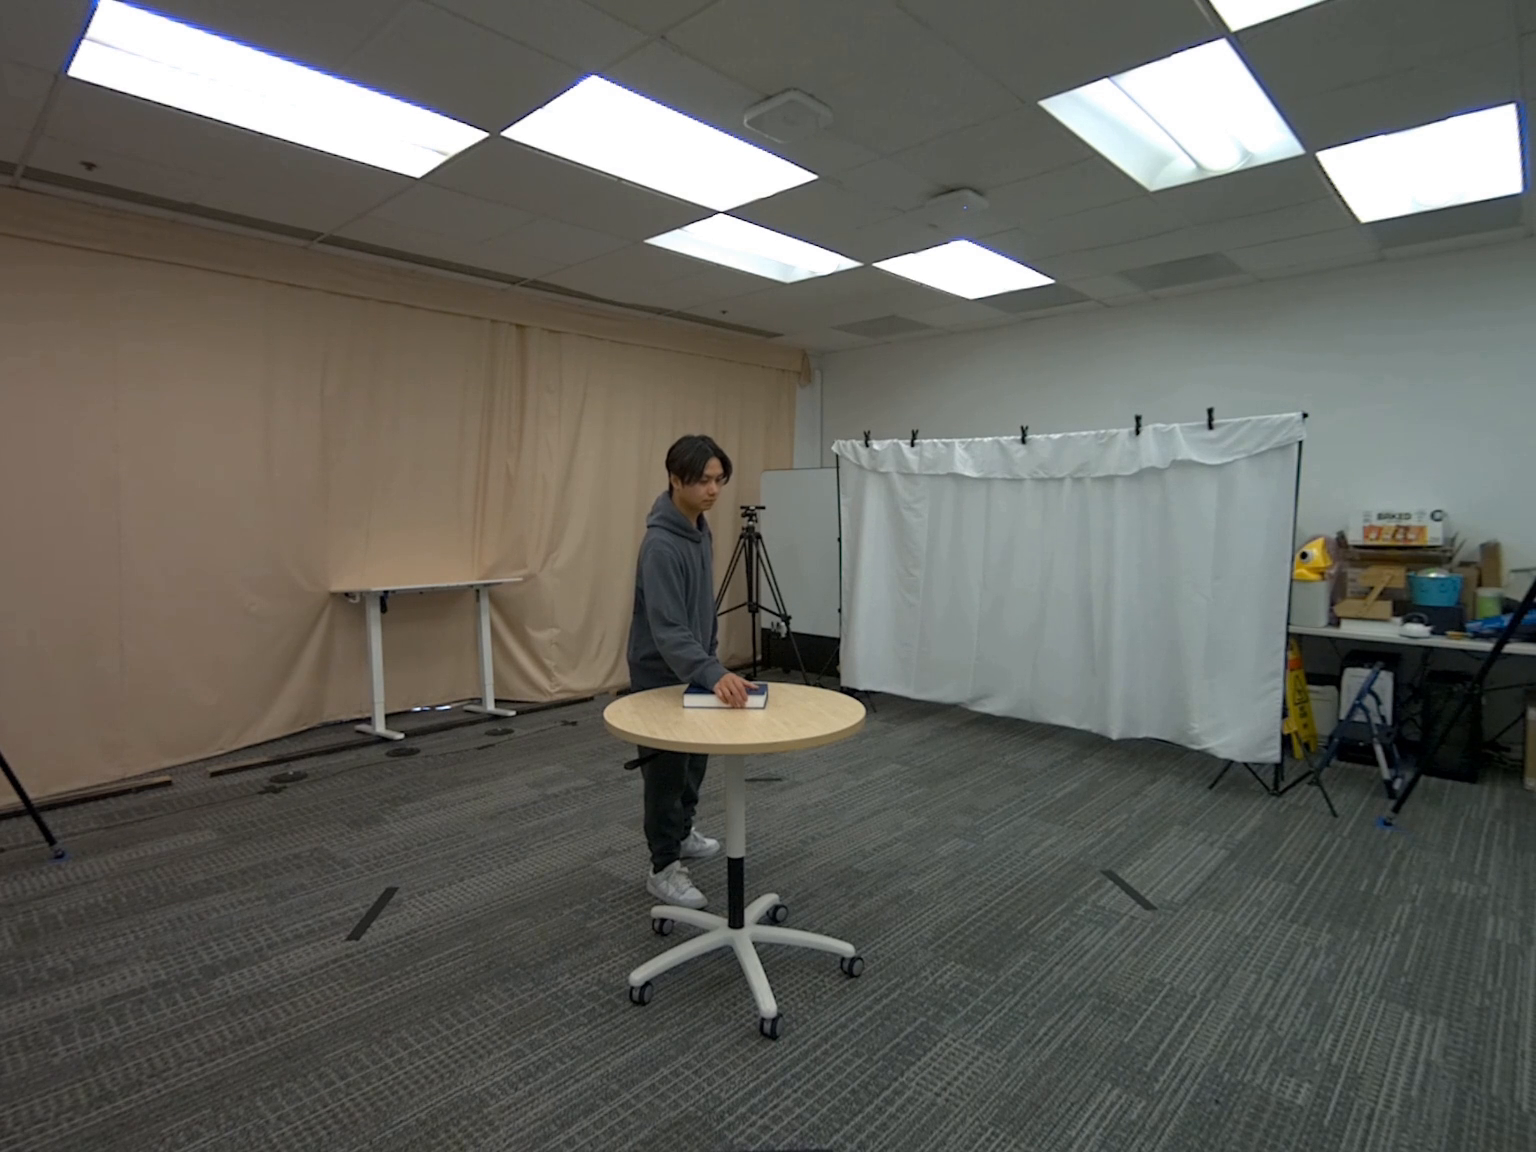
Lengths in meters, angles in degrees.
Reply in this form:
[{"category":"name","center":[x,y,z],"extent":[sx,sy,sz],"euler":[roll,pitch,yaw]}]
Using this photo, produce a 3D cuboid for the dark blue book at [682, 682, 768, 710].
[{"category":"dark blue book","center":[-0.119,0.365,2.564],"extent":[0.247,0.045,0.163],"euler":[-1,6,6]}]
